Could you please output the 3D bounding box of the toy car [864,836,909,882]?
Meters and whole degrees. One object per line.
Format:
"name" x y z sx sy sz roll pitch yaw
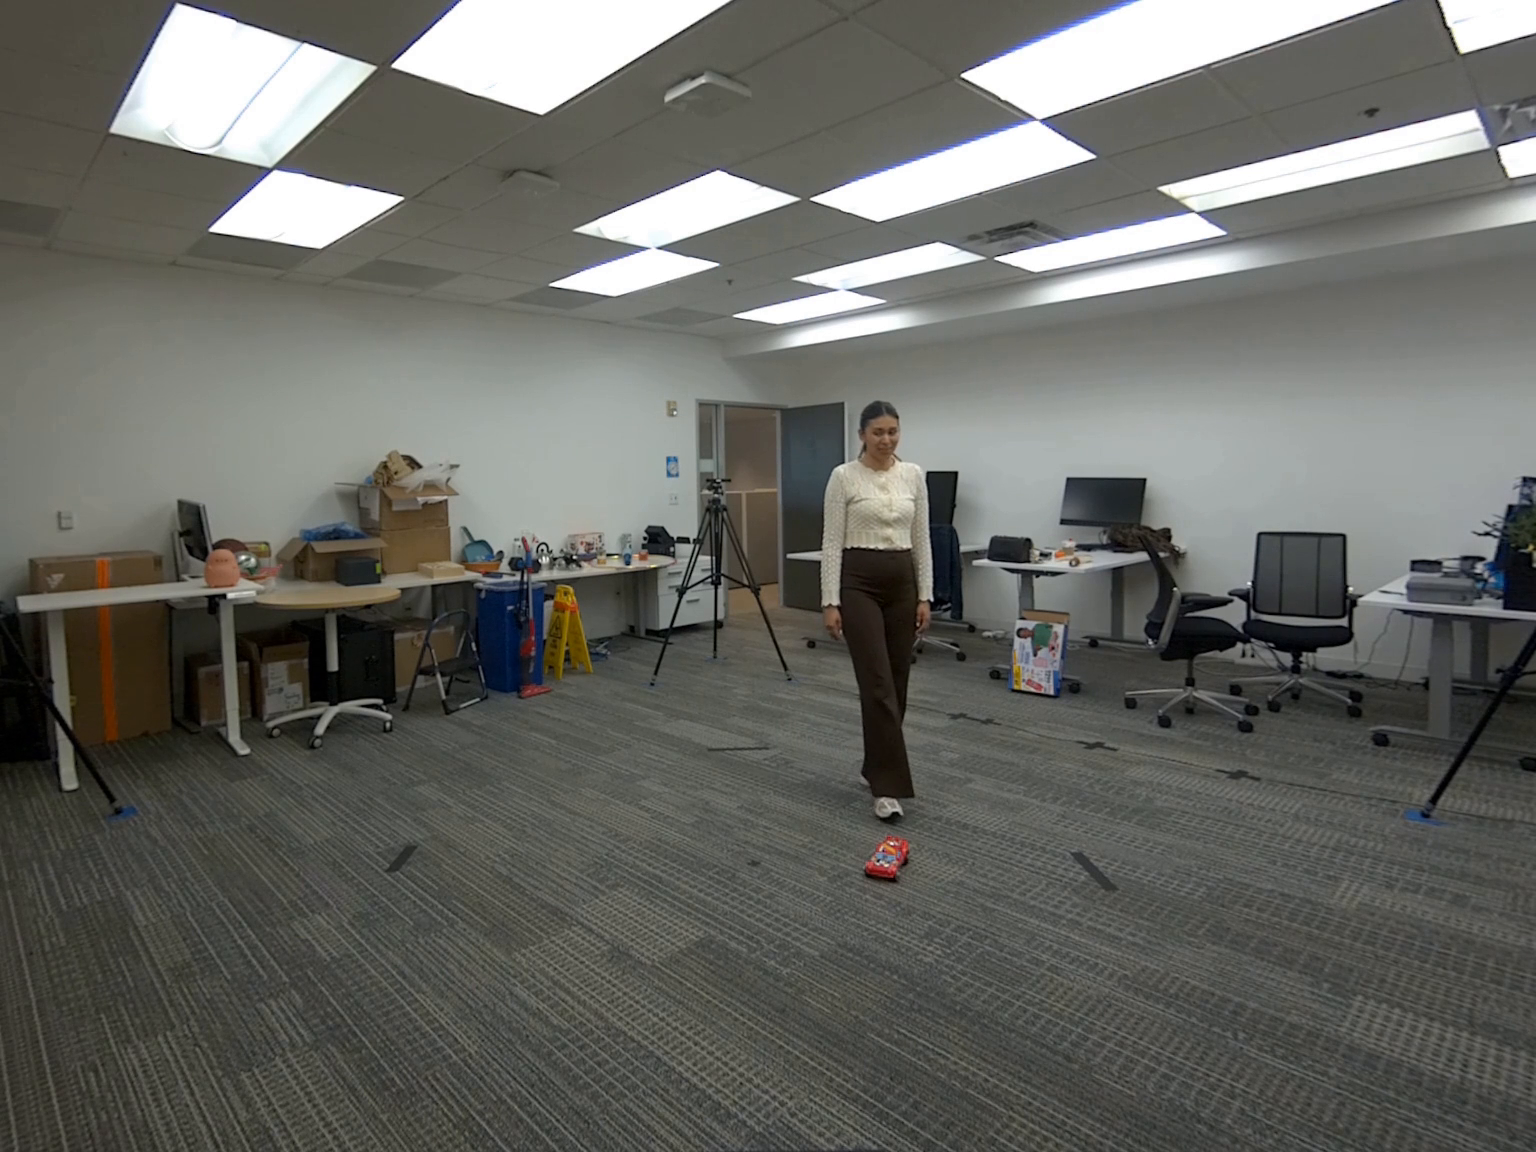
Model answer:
"toy car" 0.434 1.008 3.056 0.133 0.082 0.252 1 18 24
